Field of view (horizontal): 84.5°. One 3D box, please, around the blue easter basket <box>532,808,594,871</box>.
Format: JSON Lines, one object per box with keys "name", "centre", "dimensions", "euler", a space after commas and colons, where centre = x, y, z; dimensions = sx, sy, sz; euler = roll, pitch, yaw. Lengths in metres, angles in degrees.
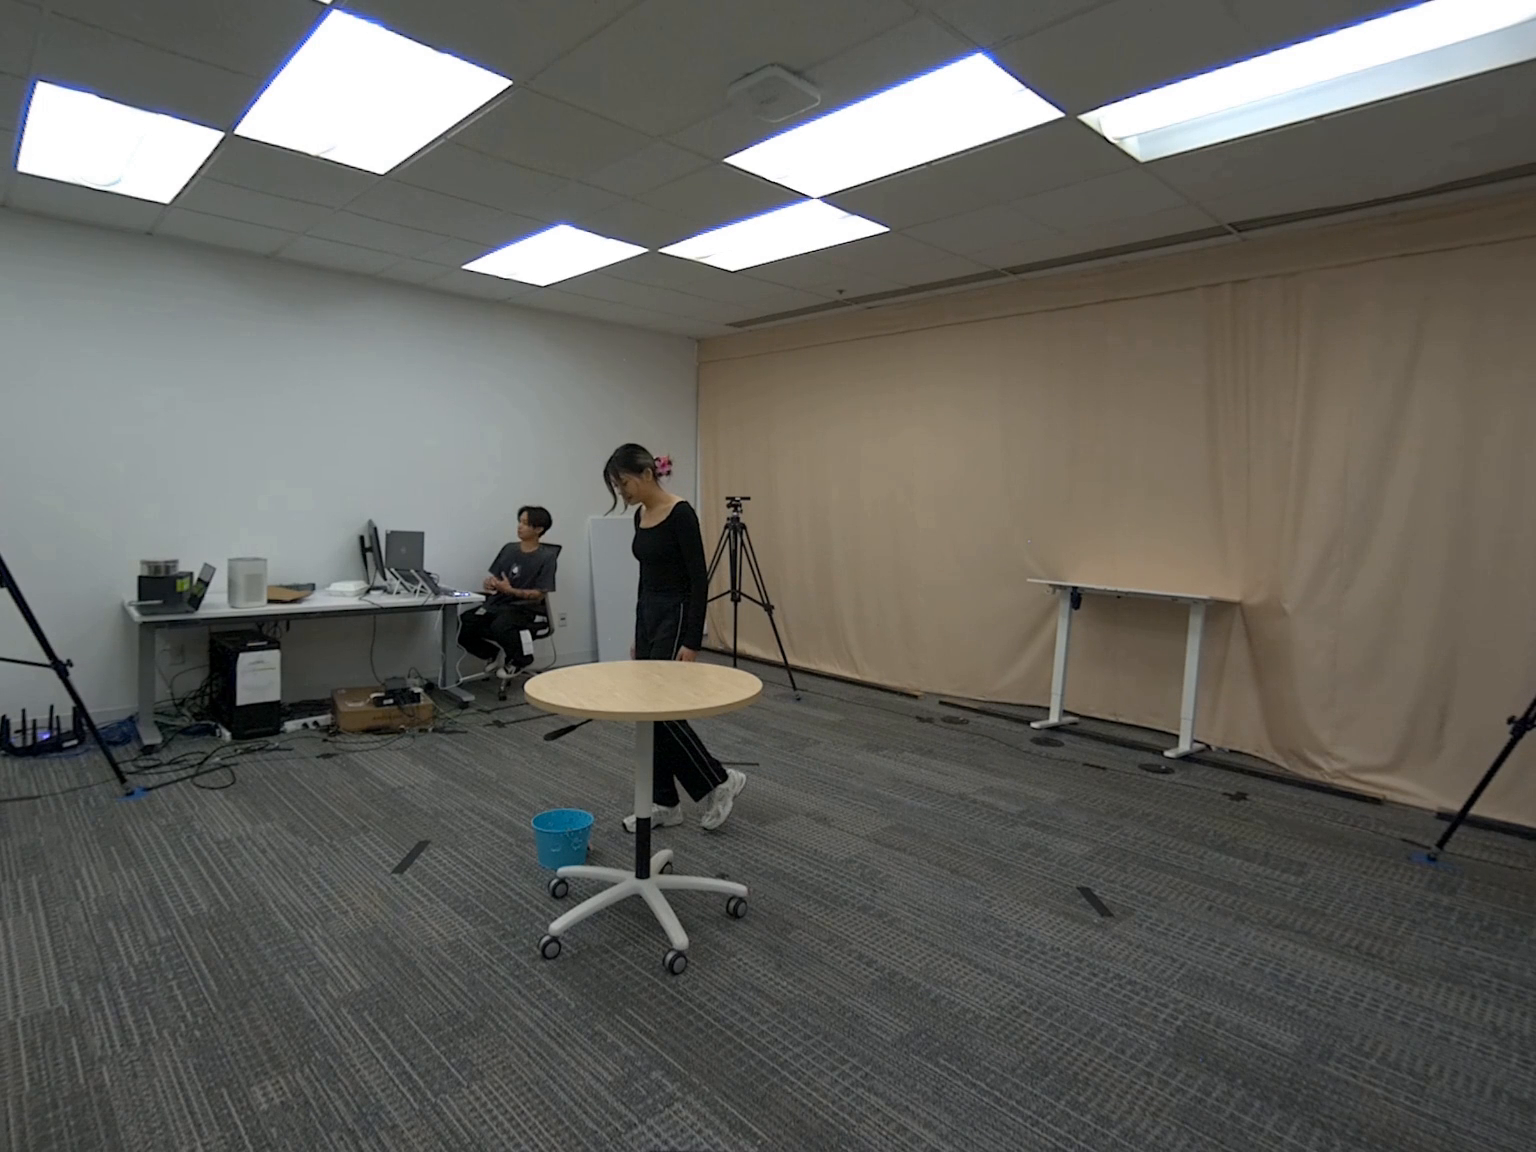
{"name": "blue easter basket", "centre": [-0.788, 1.006, 3.208], "dimensions": [0.243, 0.155, 0.244], "euler": [1, 5, -1]}
